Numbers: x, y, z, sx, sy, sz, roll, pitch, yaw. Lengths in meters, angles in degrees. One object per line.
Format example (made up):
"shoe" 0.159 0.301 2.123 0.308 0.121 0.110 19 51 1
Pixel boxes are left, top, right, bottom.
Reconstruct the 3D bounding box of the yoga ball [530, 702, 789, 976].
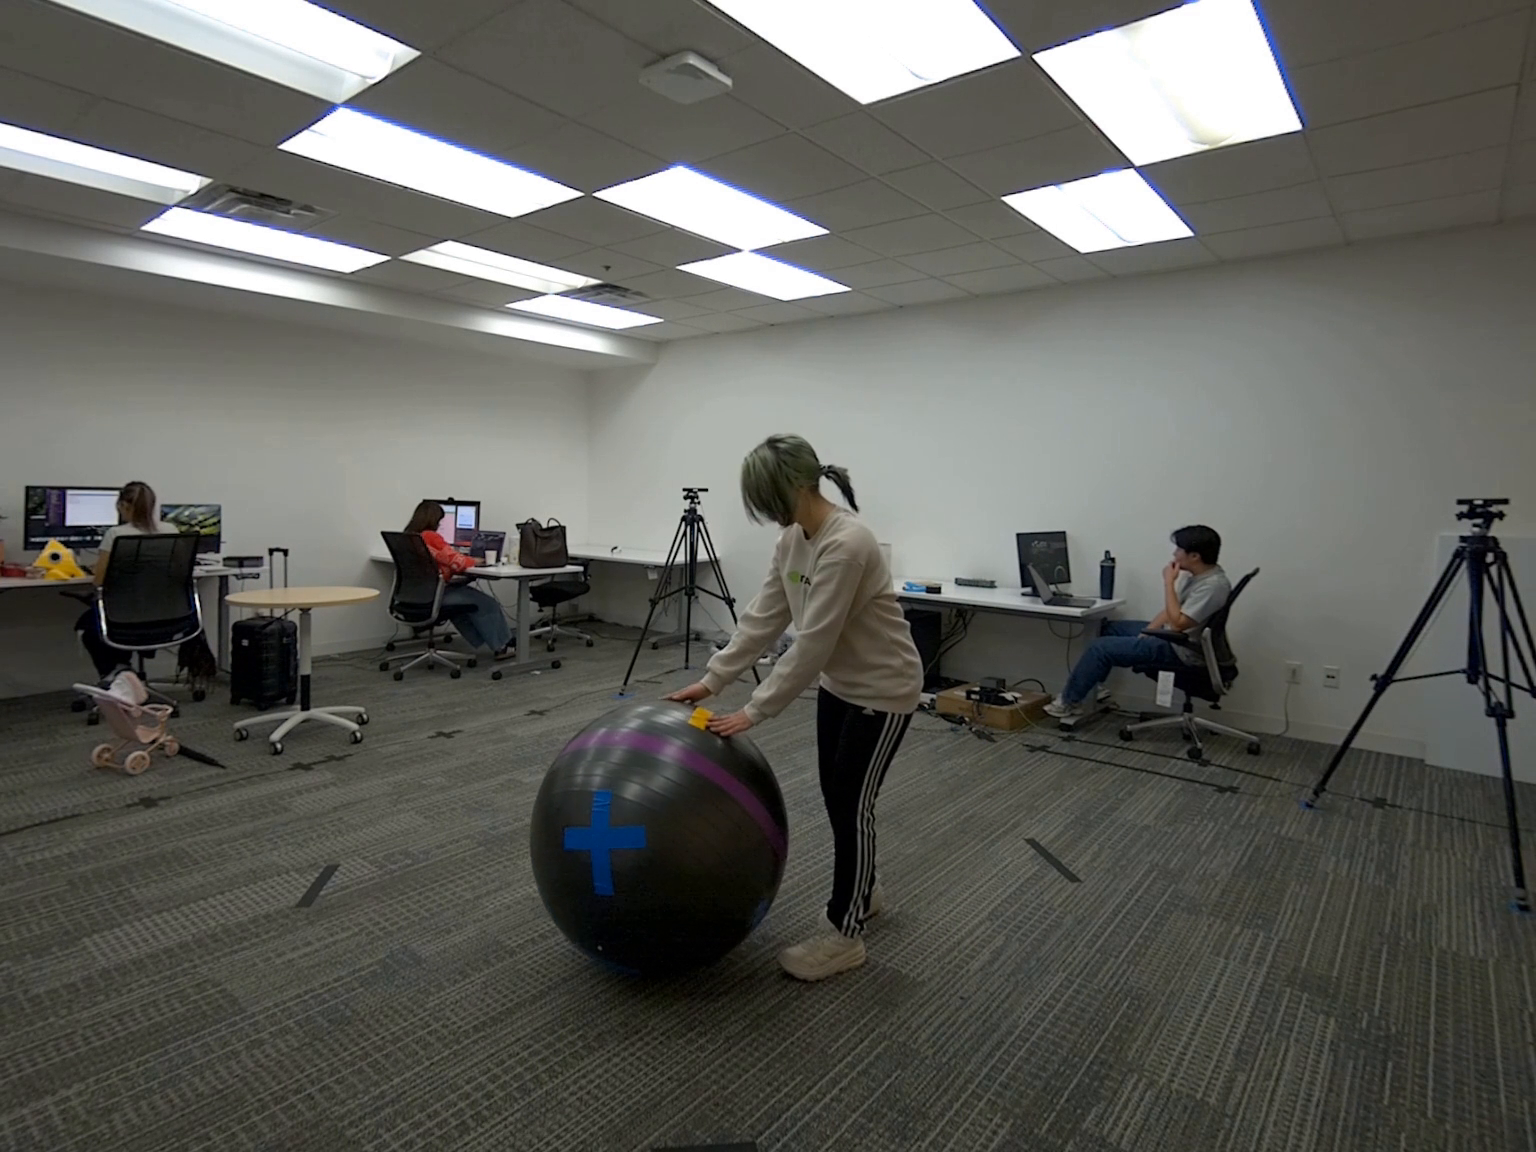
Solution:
"yoga ball" -0.334 0.760 2.505 0.757 0.755 0.762 1 4 -2
